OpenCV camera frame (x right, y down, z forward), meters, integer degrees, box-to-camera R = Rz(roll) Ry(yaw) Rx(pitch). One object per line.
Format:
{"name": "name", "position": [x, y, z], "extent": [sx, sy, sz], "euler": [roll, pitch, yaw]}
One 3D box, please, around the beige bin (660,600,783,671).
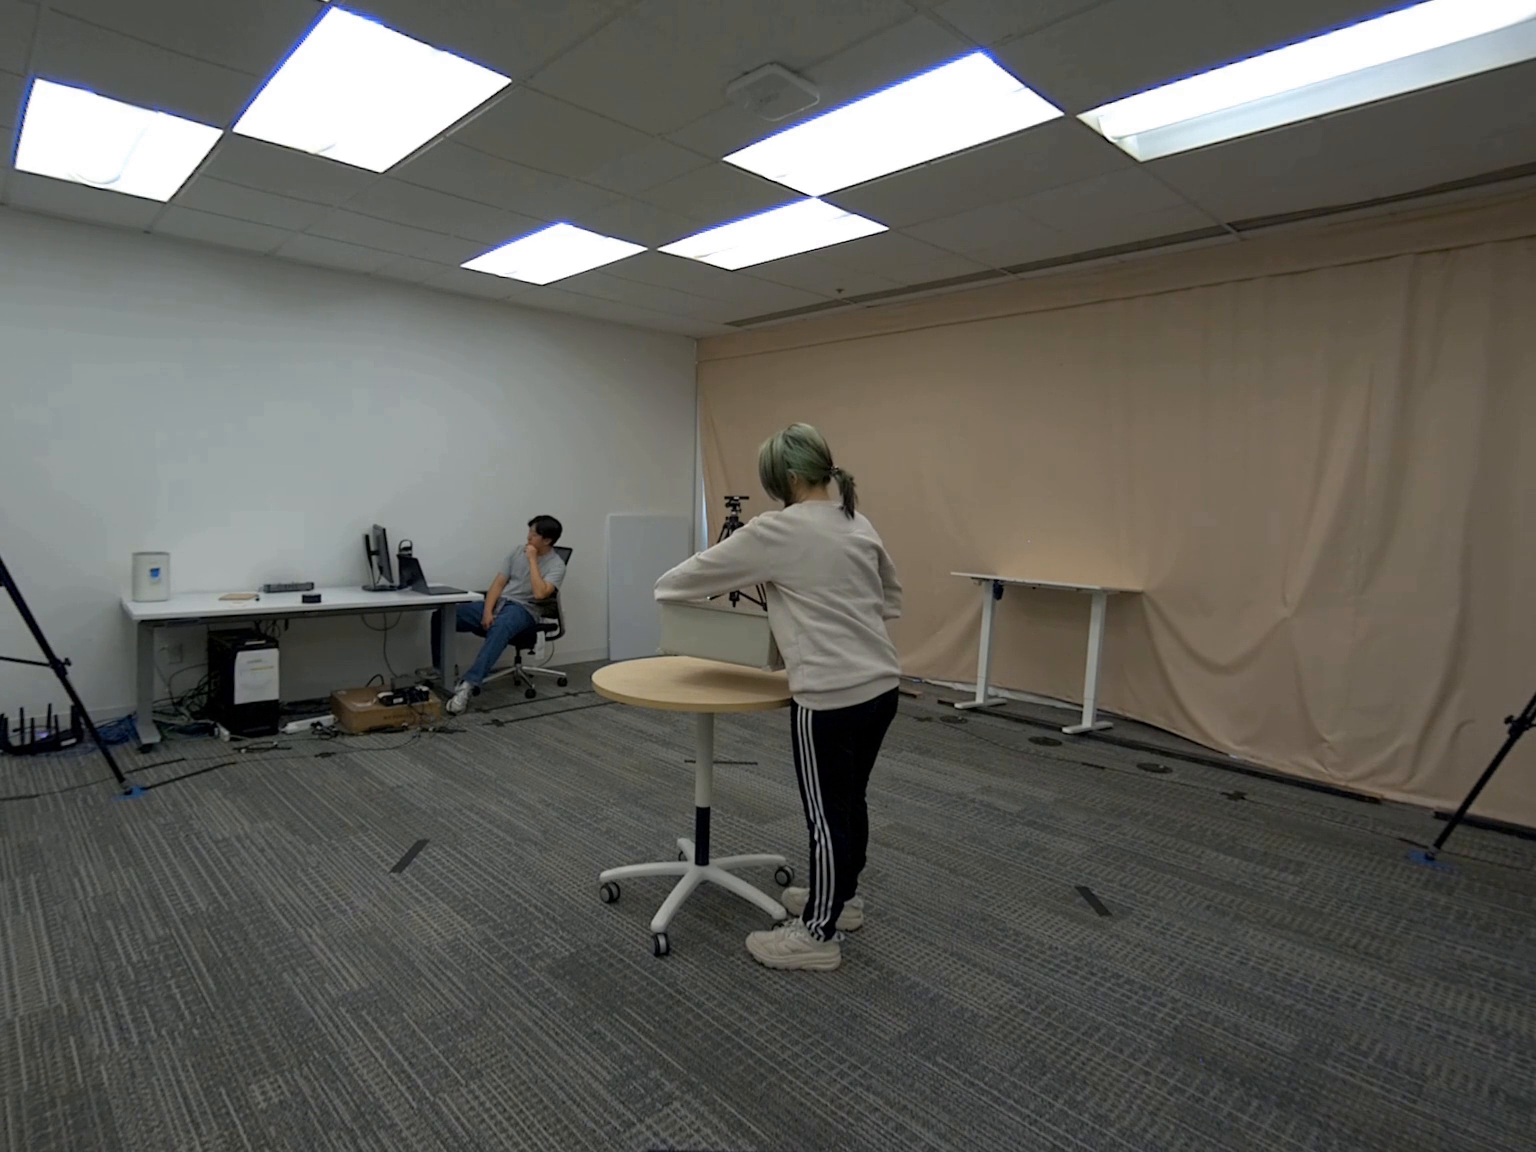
{"name": "beige bin", "position": [-0.099, 0.181, 2.776], "extent": [0.431, 0.189, 0.370], "euler": [7, 3, 26]}
